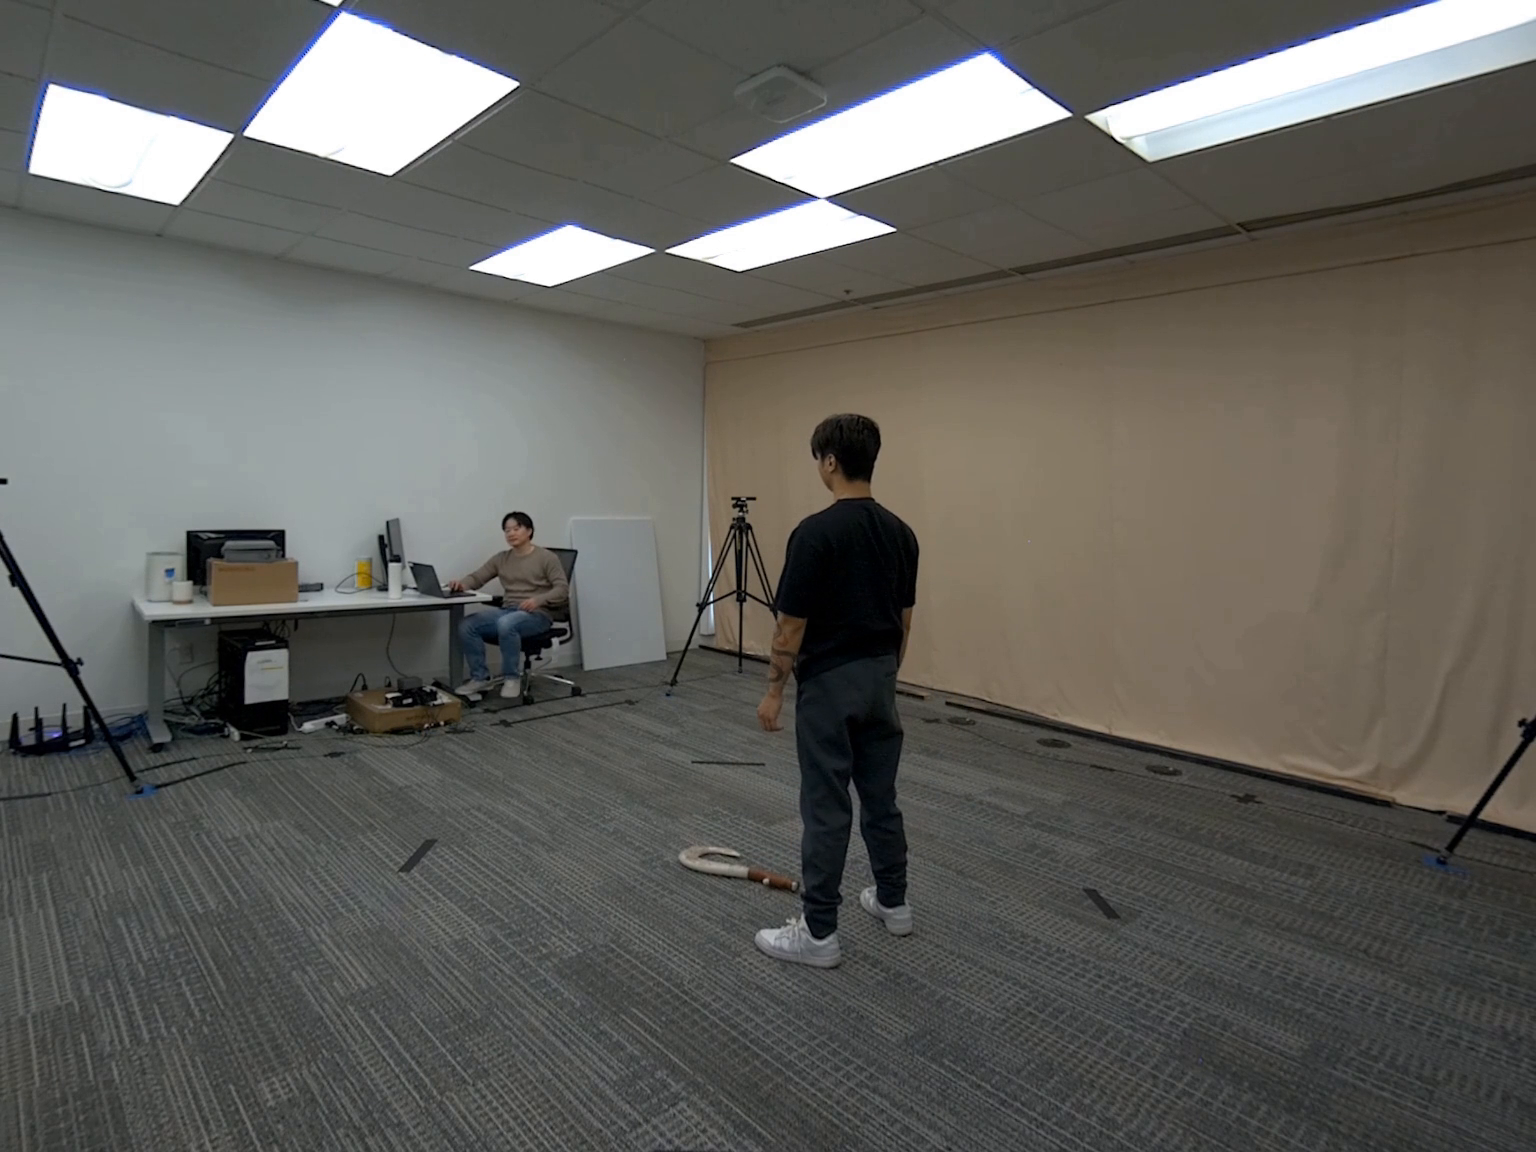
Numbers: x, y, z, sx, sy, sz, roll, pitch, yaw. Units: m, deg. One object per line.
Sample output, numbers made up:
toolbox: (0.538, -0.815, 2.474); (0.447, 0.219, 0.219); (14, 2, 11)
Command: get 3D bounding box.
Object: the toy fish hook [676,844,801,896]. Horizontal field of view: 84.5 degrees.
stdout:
toy fish hook: (-0.100, 1.082, 3.146); (0.517, 0.048, 0.221); (4, 7, 28)
